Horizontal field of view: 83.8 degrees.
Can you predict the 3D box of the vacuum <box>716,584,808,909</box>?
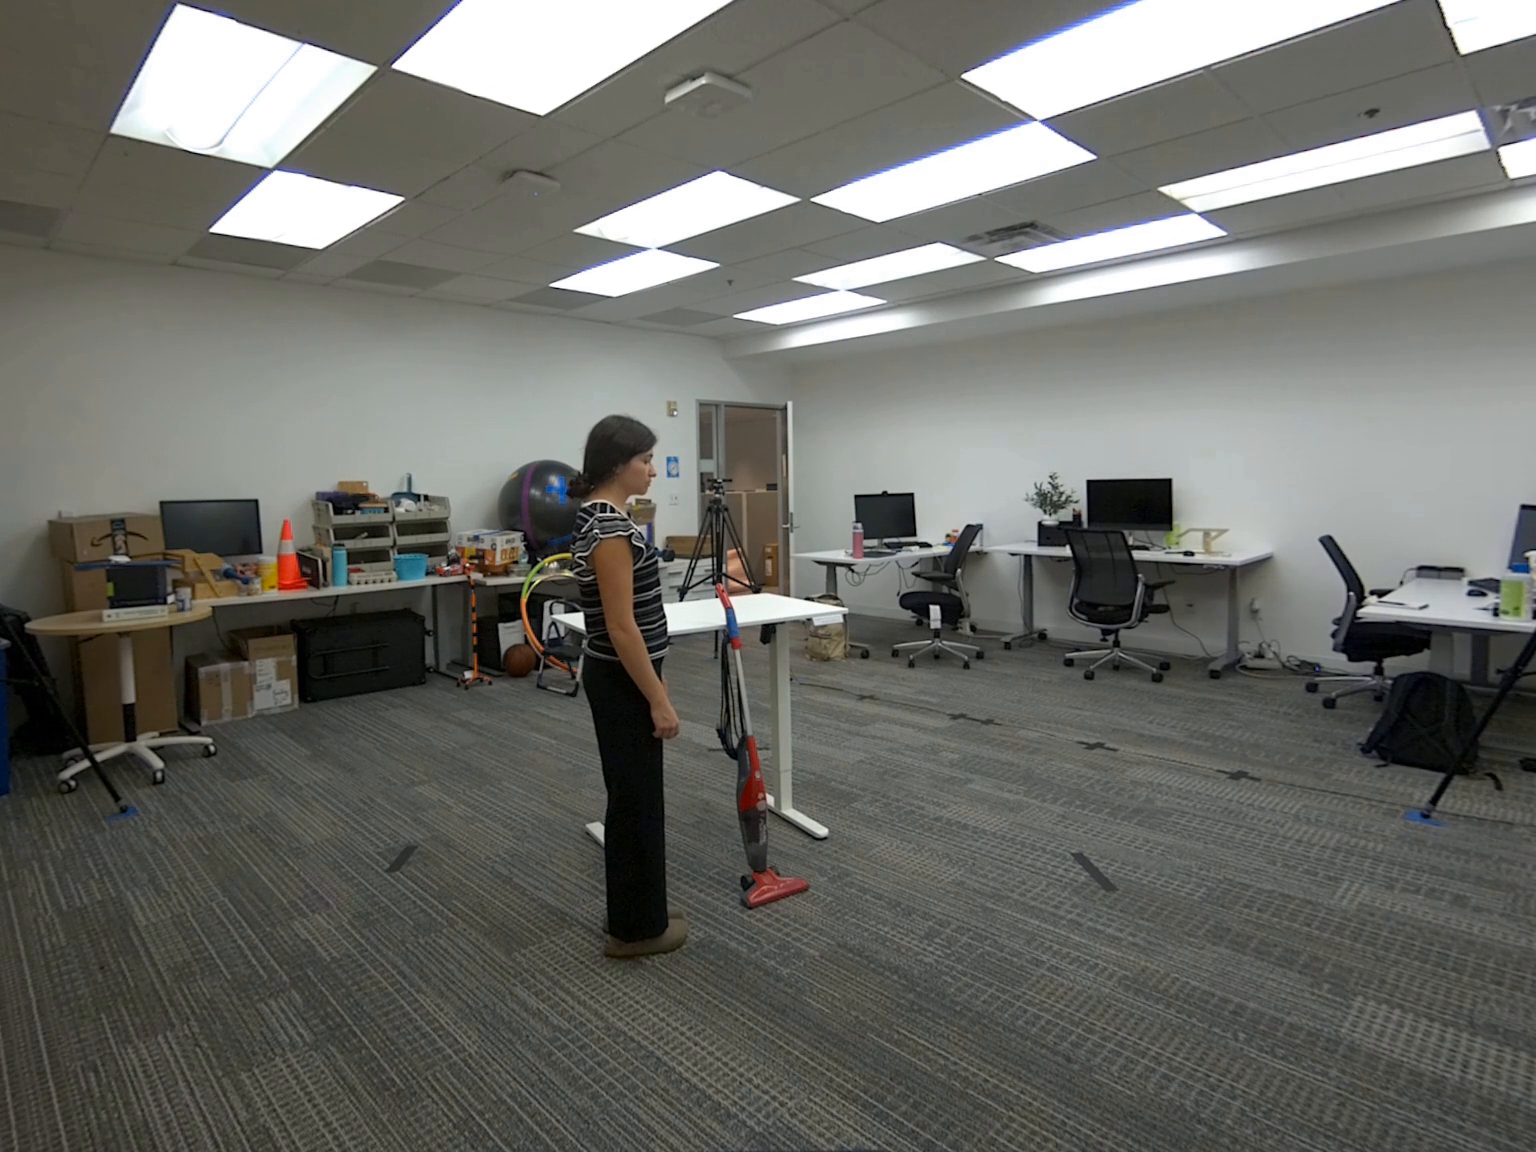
[{"bbox_3d":[-0.086,0.557,2.983,0.246,1.061,0.146,-2,-12,-34],"label":"vacuum"}]
